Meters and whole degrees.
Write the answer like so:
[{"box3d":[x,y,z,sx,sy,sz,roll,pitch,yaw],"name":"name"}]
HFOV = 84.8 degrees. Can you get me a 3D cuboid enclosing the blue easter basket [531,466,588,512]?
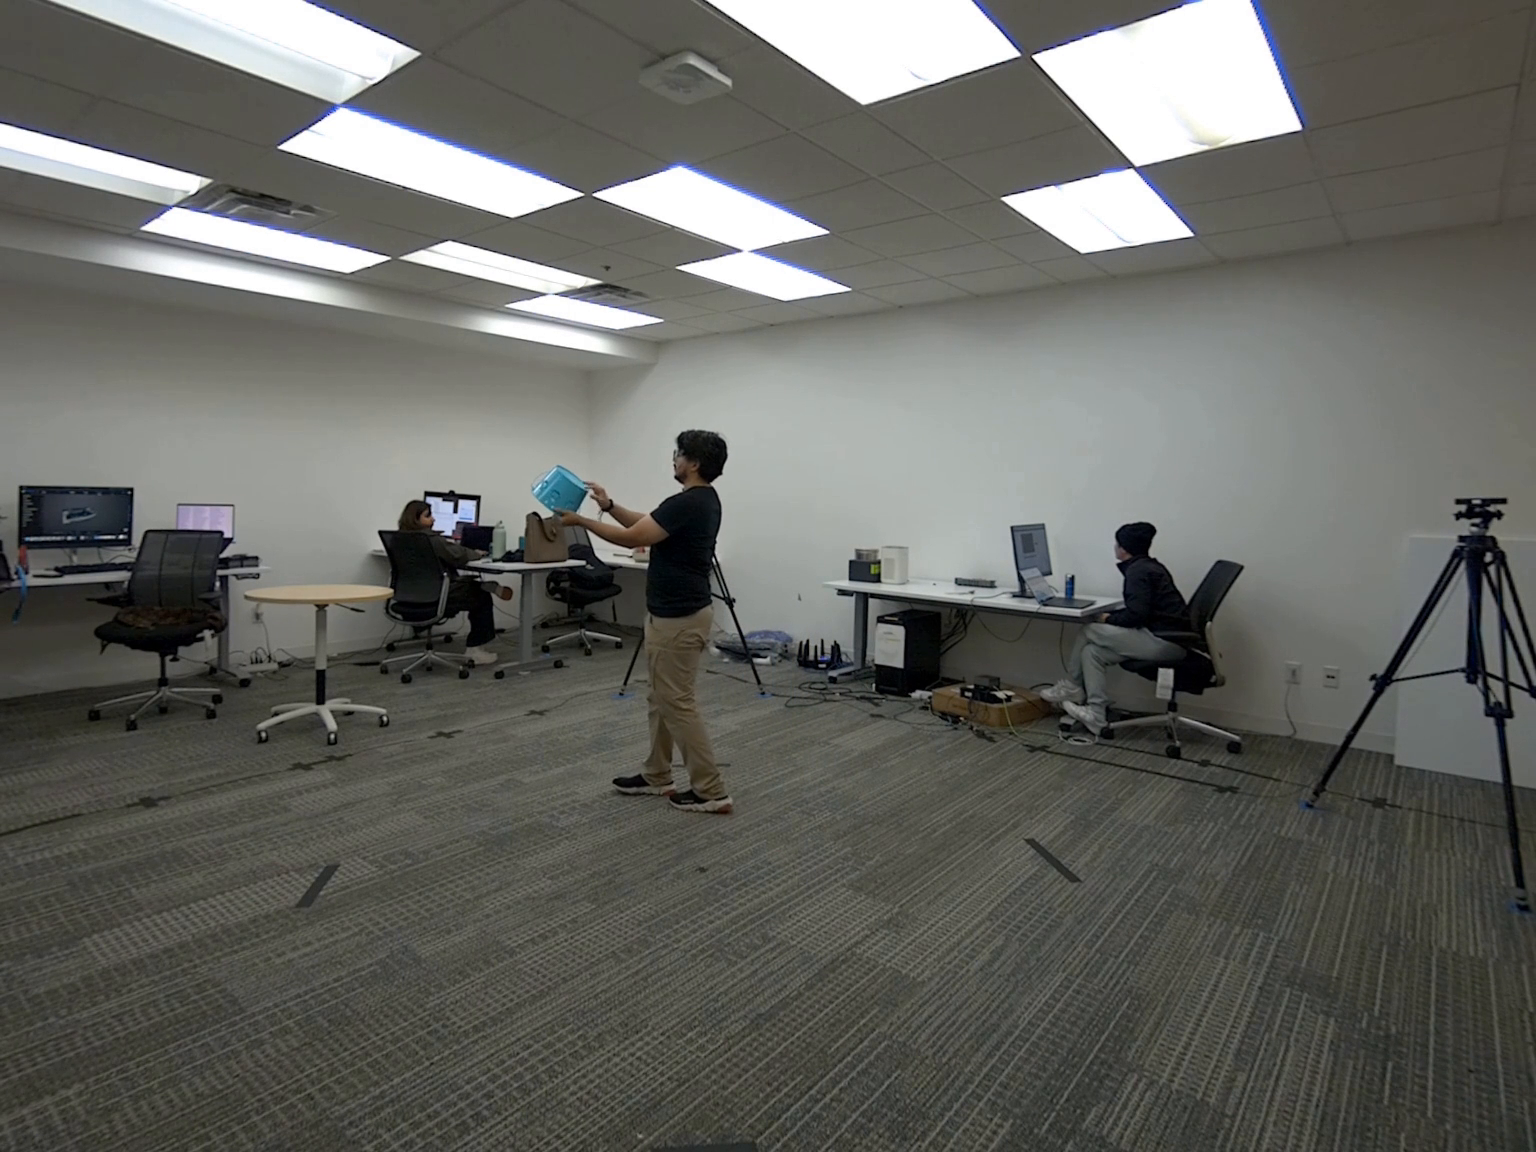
[{"box3d":[-0.929,-0.385,3.783,0.241,0.156,0.246,39,6,-8],"name":"blue easter basket"}]
